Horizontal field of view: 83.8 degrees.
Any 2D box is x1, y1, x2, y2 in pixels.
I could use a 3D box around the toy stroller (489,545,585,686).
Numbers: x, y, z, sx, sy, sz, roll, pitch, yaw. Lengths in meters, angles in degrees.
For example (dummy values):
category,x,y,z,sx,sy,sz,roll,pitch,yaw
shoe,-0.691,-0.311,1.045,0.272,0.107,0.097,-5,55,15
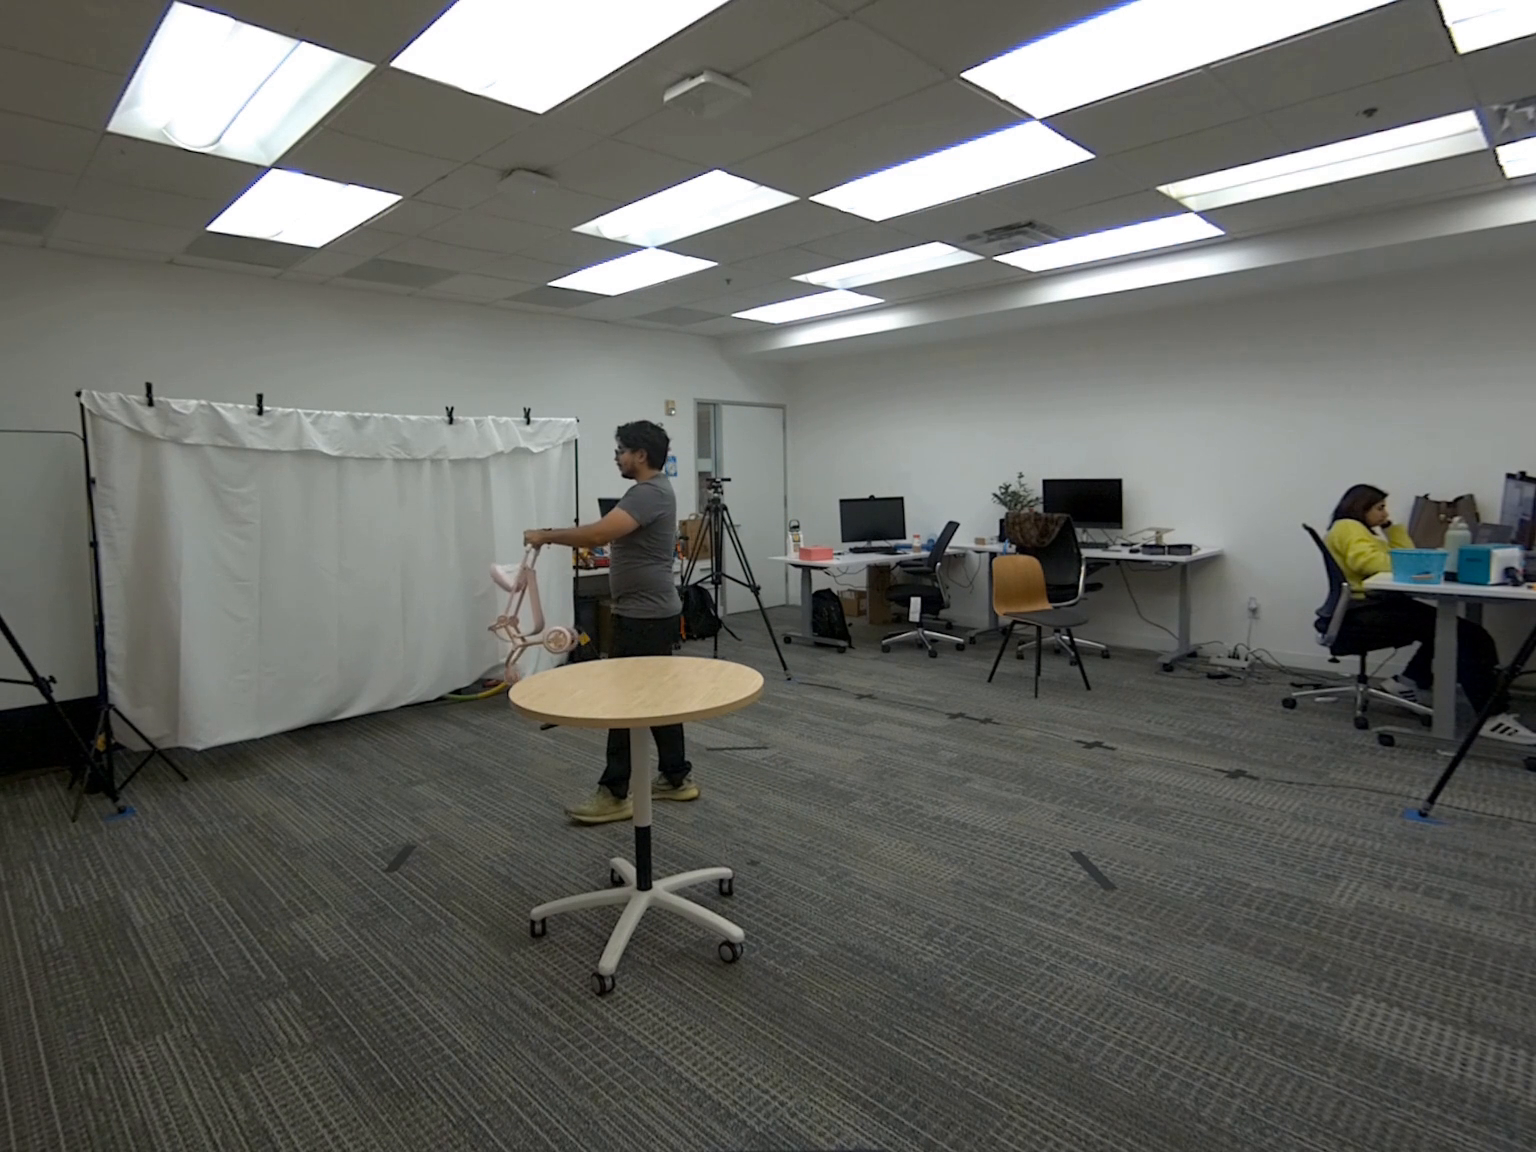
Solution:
category,x,y,z,sx,sy,sz,roll,pitch,yaw
toy stroller,-1.008,0.153,3.552,0.341,0.538,0.280,-21,-4,0
